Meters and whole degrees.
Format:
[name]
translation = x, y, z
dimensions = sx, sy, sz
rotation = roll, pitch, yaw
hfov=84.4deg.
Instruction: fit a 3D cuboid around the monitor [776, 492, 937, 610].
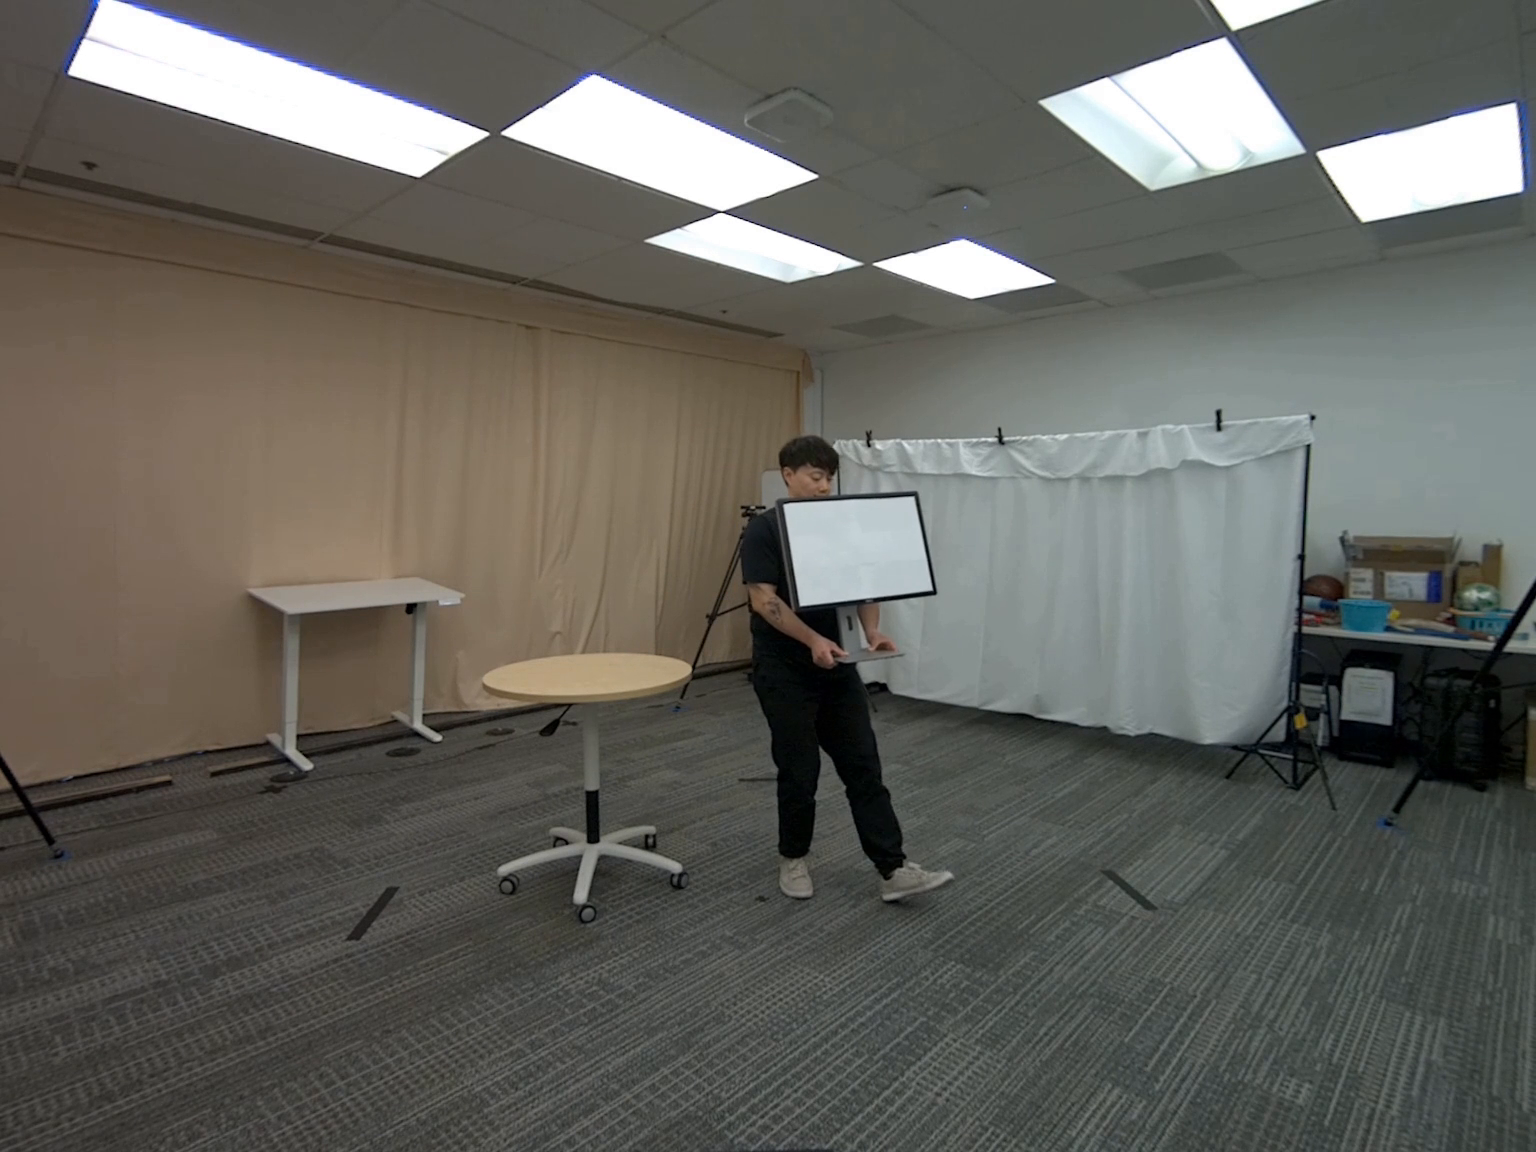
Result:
[monitor]
translation = 0.289, 0.001, 2.796
dimensions = 0.525, 0.521, 0.192
rotation = -5, 3, -29
